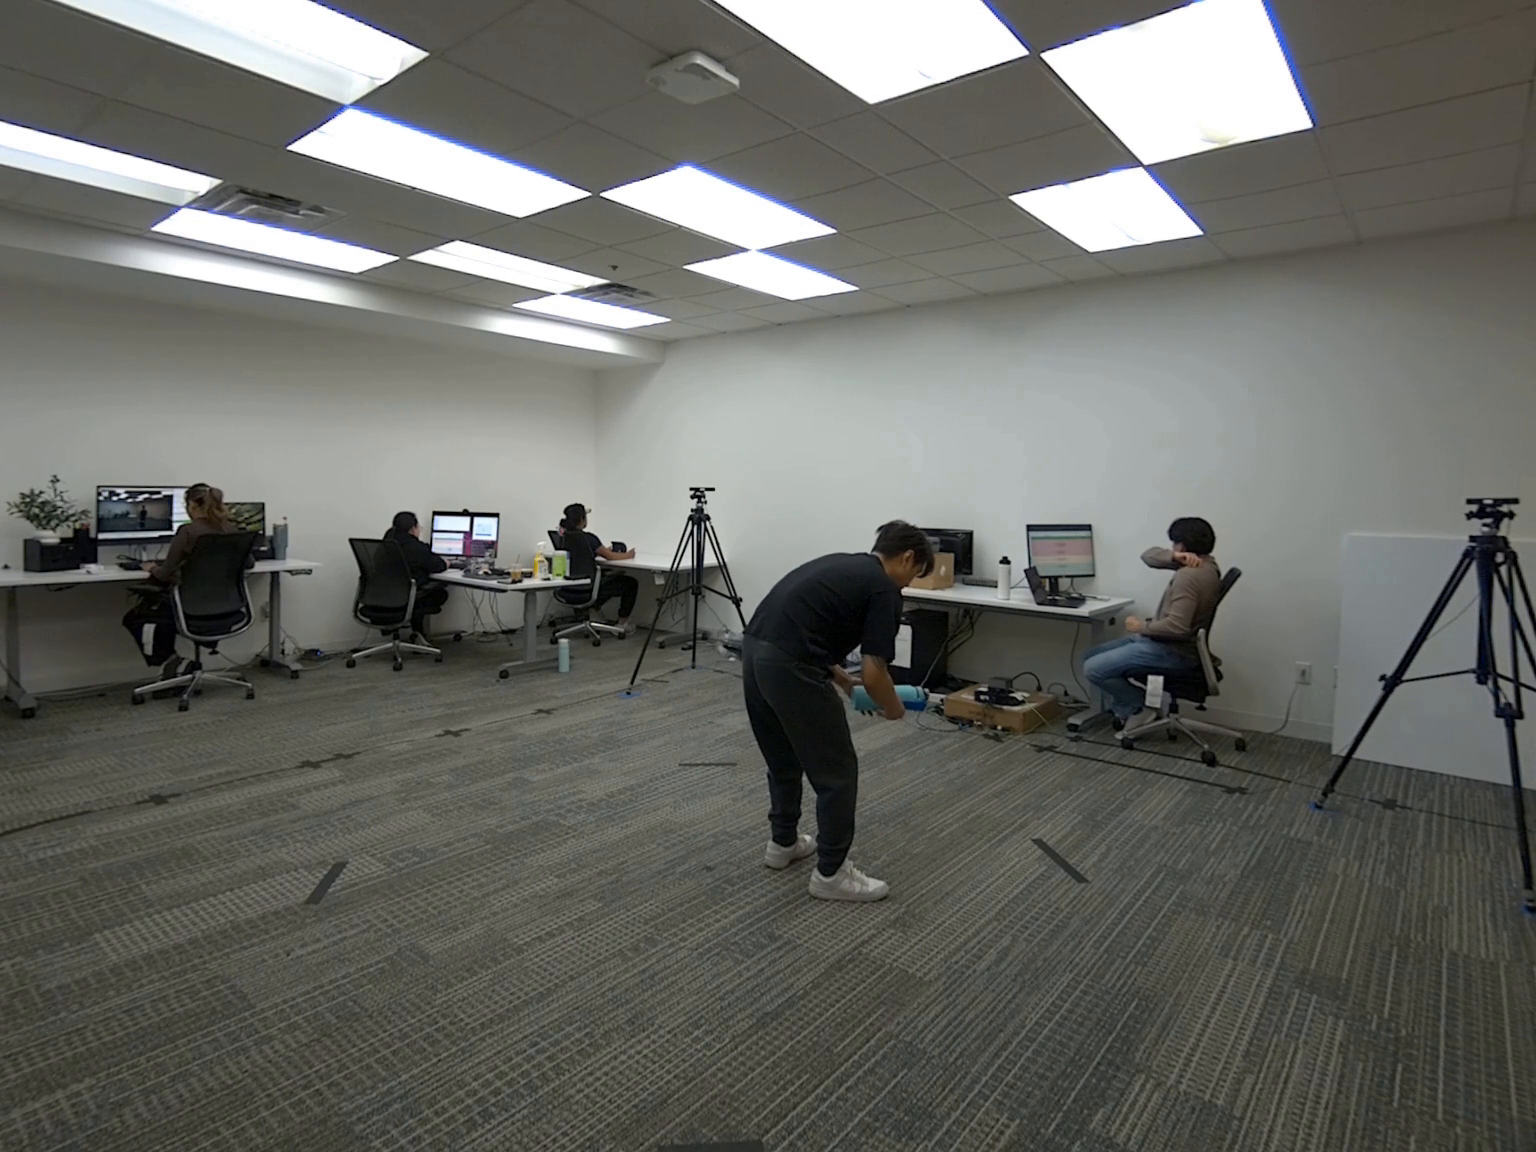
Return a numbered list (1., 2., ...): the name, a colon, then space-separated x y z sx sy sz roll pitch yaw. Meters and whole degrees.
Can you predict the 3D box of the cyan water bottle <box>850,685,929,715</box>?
1. cyan water bottle: 0.449 0.461 3.139 0.282 0.092 0.093 -2 4 -4
